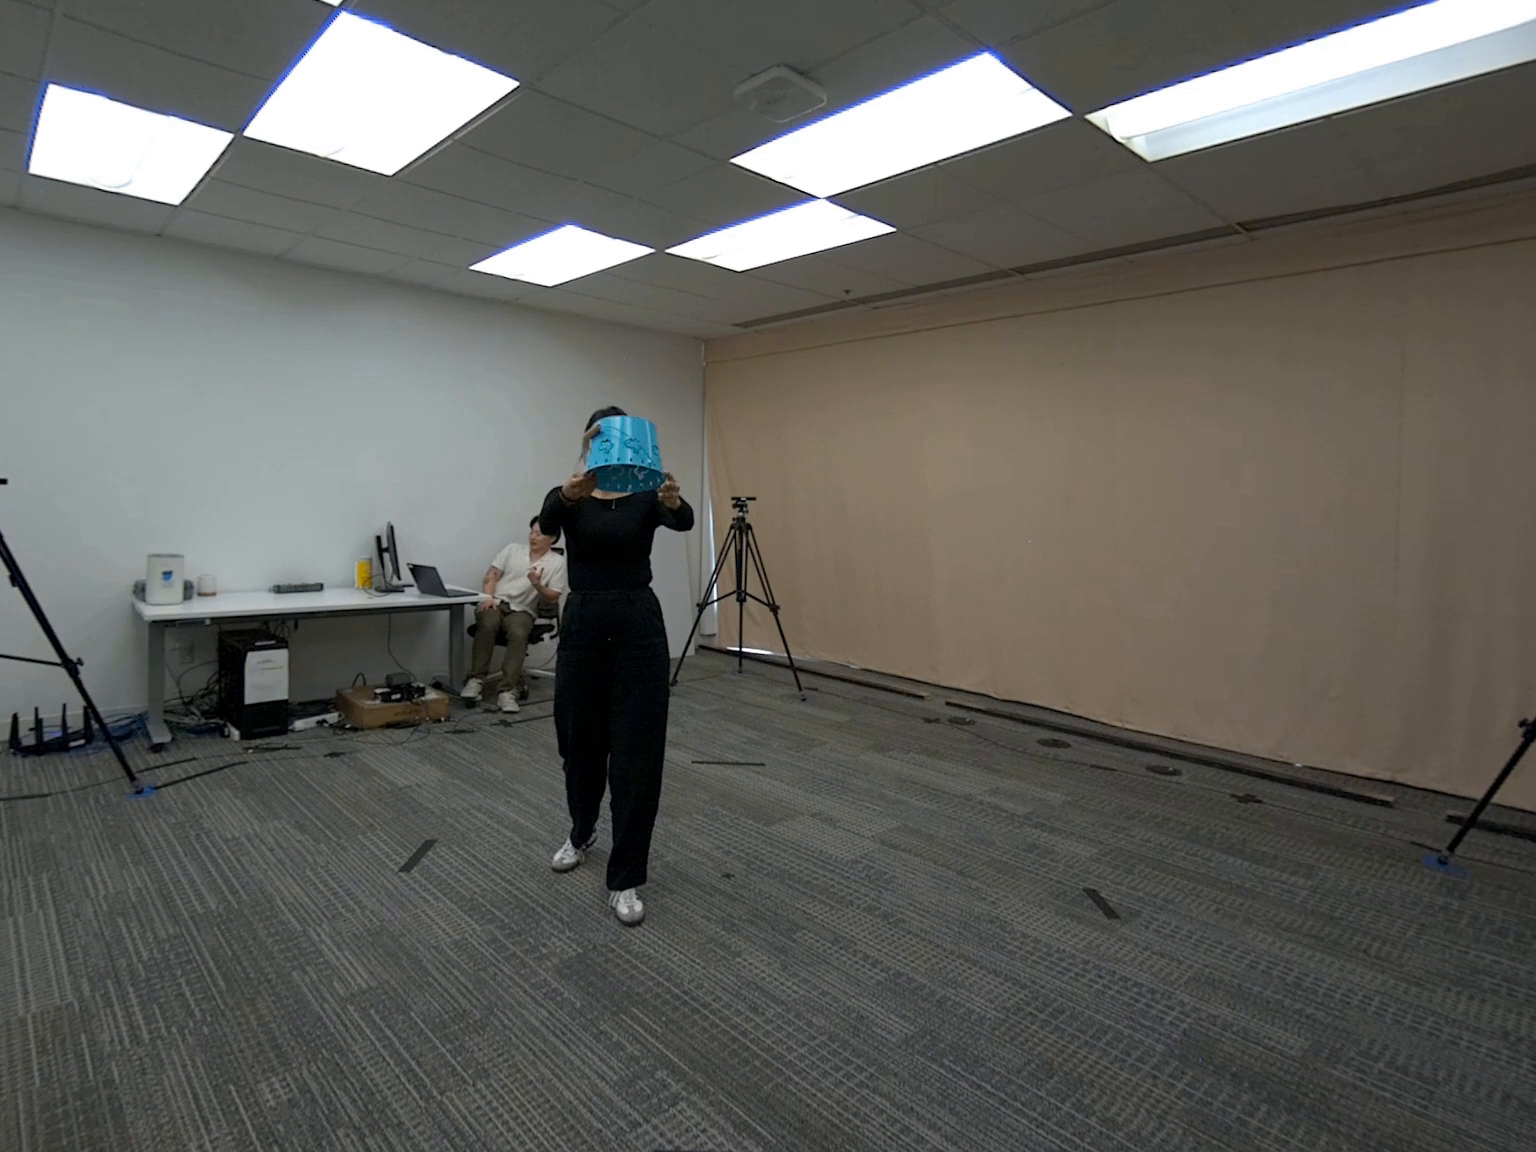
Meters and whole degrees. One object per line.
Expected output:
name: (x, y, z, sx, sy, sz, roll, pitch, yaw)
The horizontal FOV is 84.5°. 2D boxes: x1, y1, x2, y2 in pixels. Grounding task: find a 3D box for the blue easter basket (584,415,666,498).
blue easter basket: (-0.416, -0.339, 2.358, 0.243, 0.158, 0.241, -2, -14, -2)
